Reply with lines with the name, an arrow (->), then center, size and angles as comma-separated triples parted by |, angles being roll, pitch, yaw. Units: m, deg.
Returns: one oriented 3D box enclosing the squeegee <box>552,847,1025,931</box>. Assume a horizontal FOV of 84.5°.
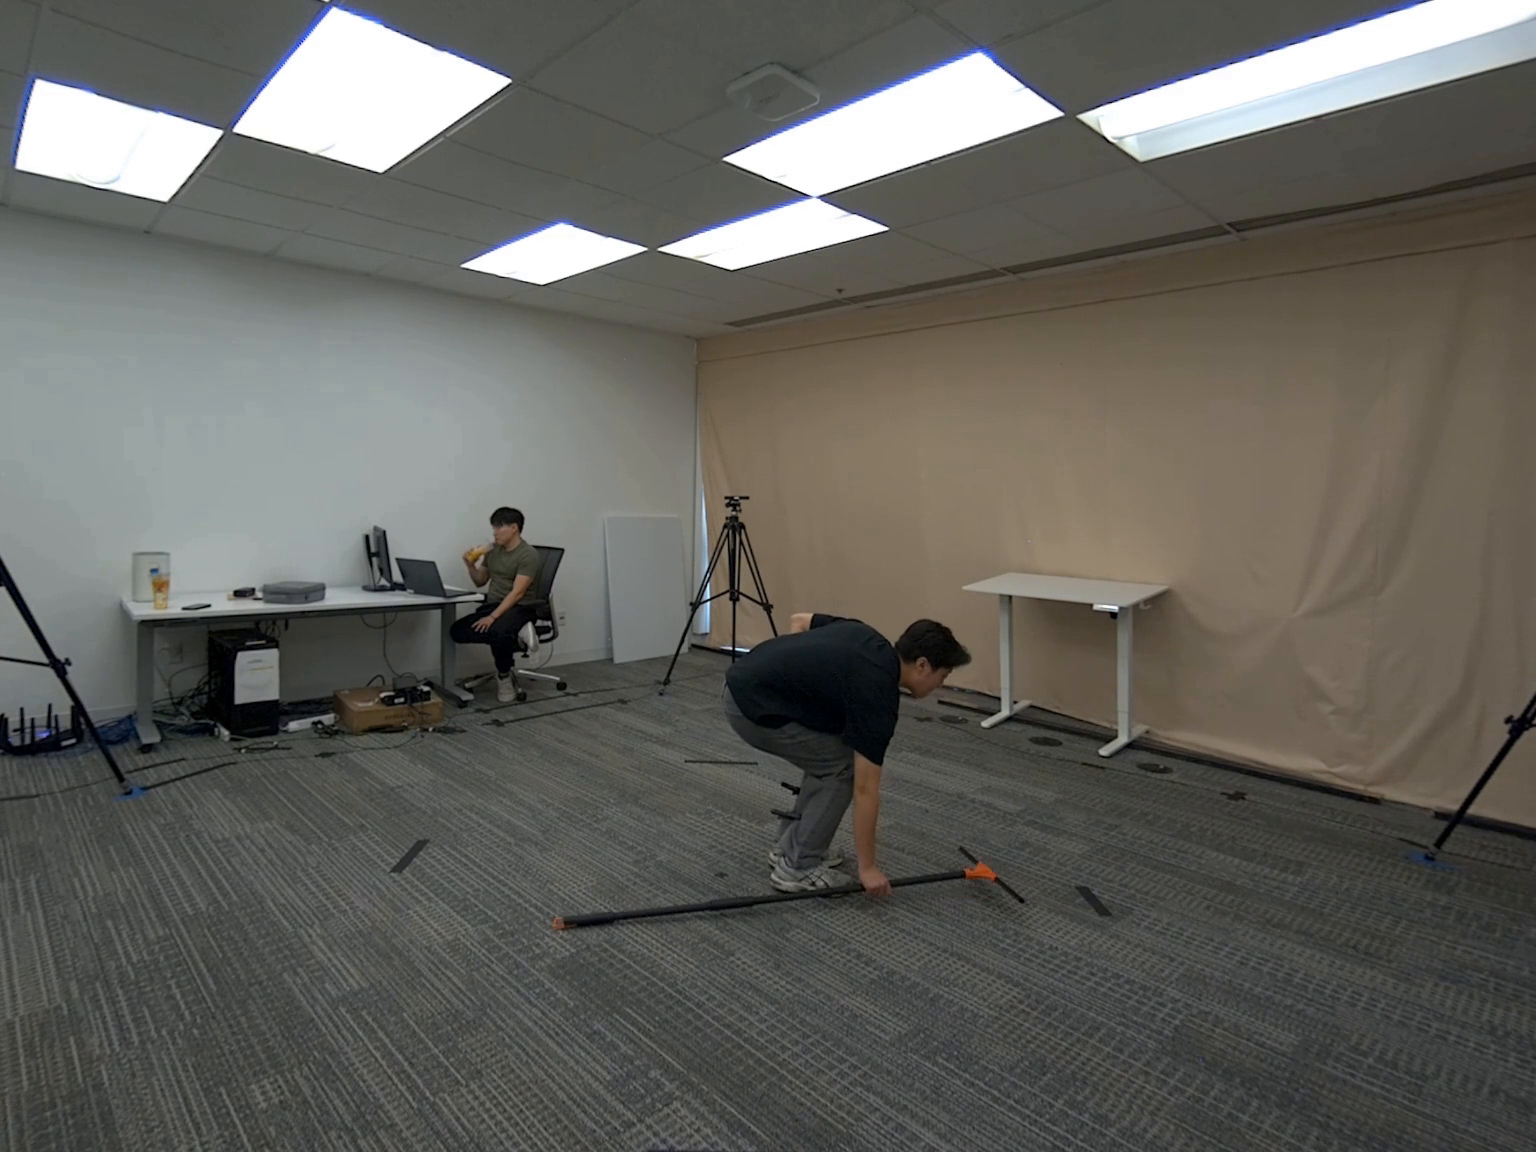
squeegee -> 0.059, 1.064, 2.834 | 1.523, 0.053, 0.442 | -2, 3, -12
